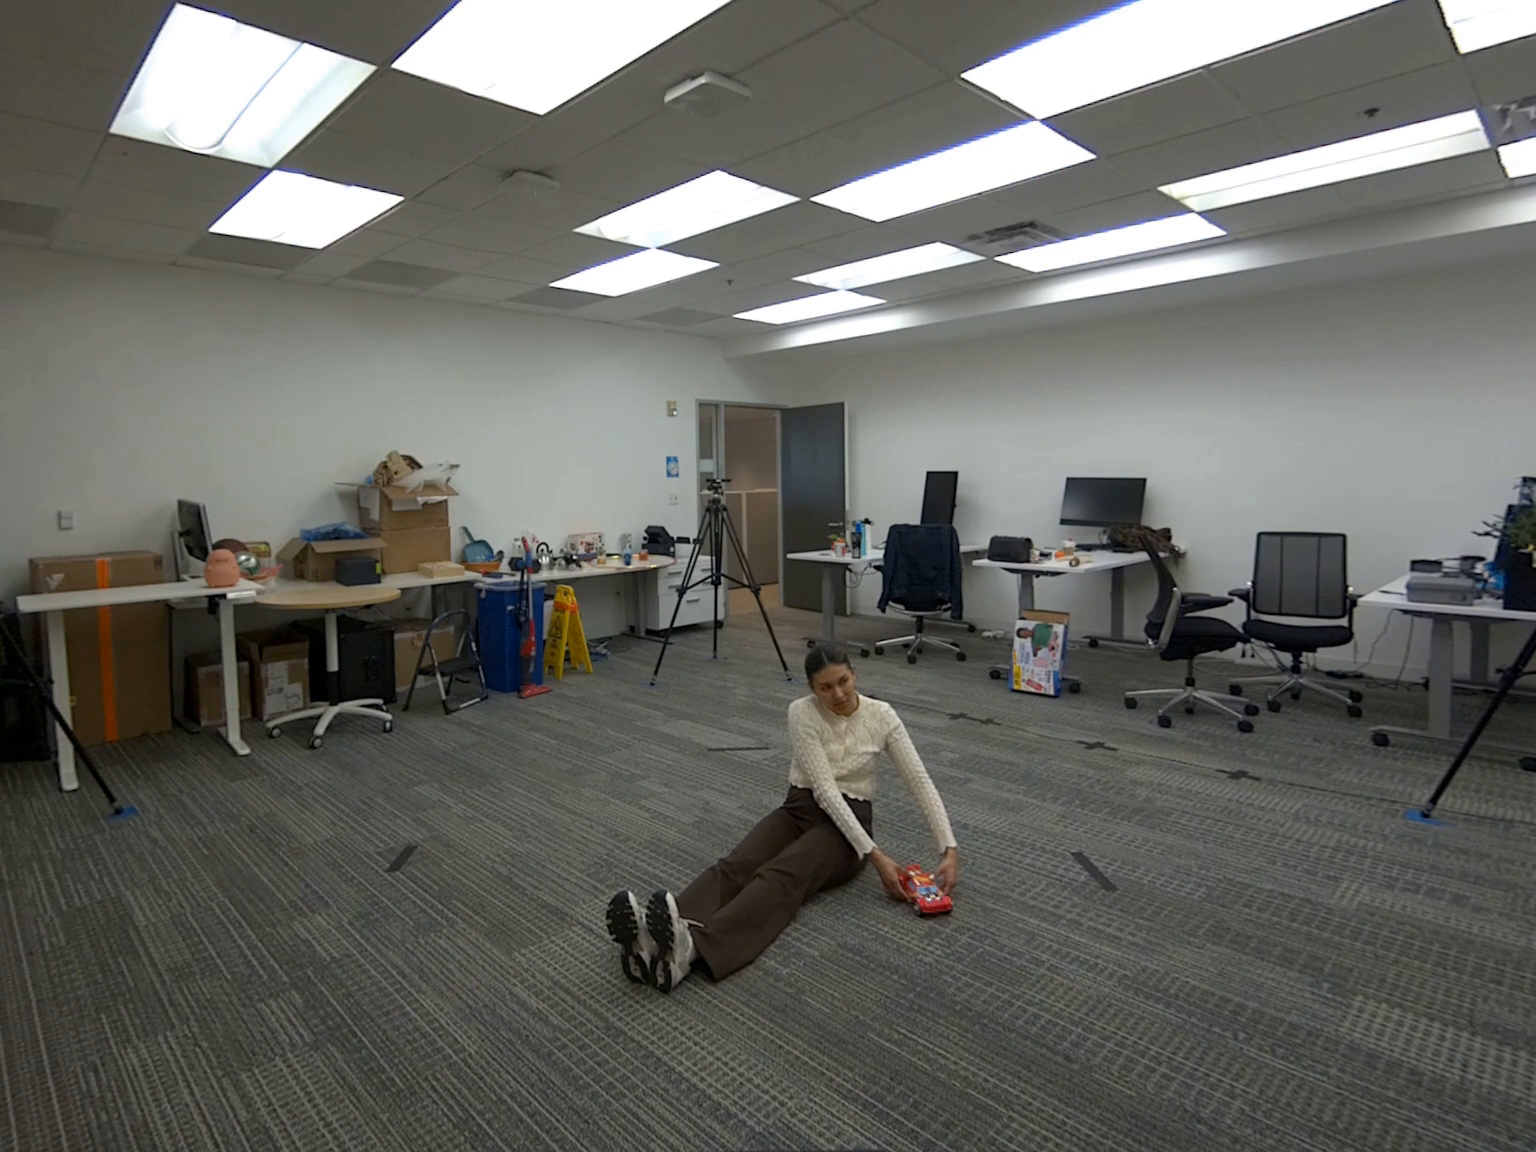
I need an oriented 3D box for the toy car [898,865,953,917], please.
[{"bbox_3d":[0.508,1.035,2.808,0.128,0.082,0.261,-3,16,-17],"label":"toy car"}]
